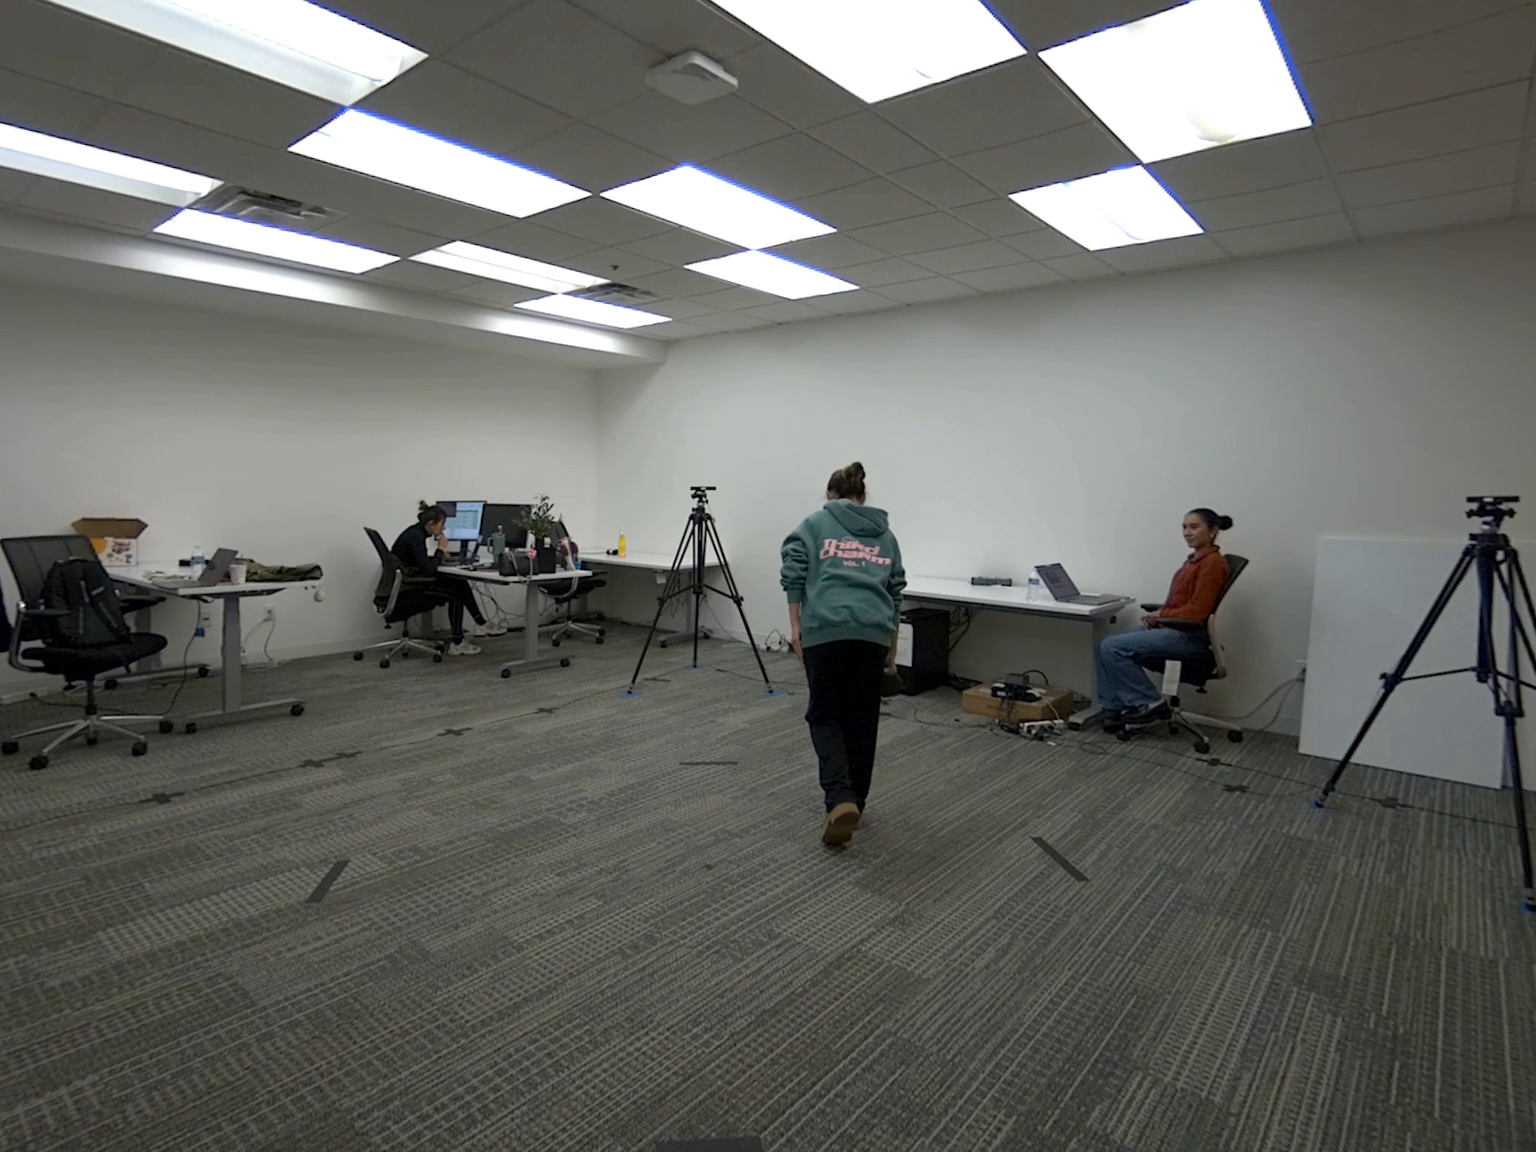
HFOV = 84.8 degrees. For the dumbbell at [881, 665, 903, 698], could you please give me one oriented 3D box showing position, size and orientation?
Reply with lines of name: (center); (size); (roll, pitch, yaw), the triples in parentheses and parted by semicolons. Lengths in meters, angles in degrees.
dumbbell: (0.489, 0.425, 3.661); (0.108, 0.122, 0.297); (21, 9, -6)
